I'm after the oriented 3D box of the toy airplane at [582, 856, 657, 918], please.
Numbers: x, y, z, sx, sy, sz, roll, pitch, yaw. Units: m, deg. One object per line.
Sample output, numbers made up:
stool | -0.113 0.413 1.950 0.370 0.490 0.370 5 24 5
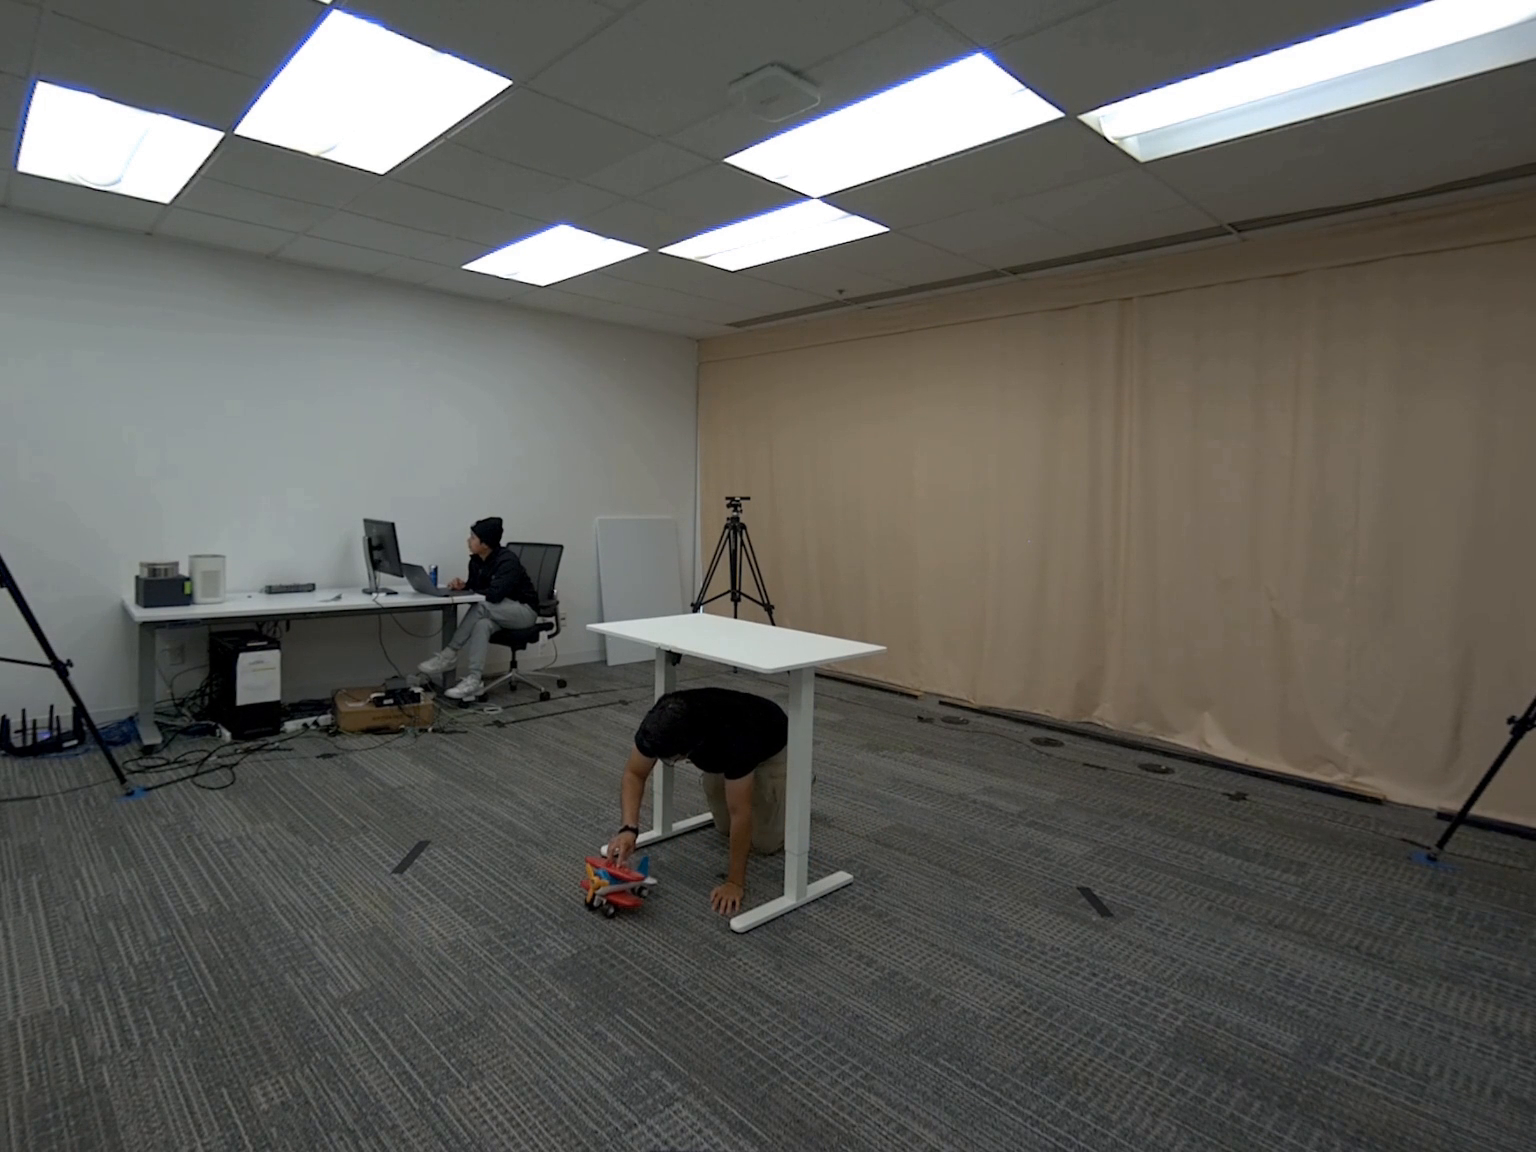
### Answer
toy airplane | -0.524 1.037 2.873 0.253 0.156 0.258 2 6 10
